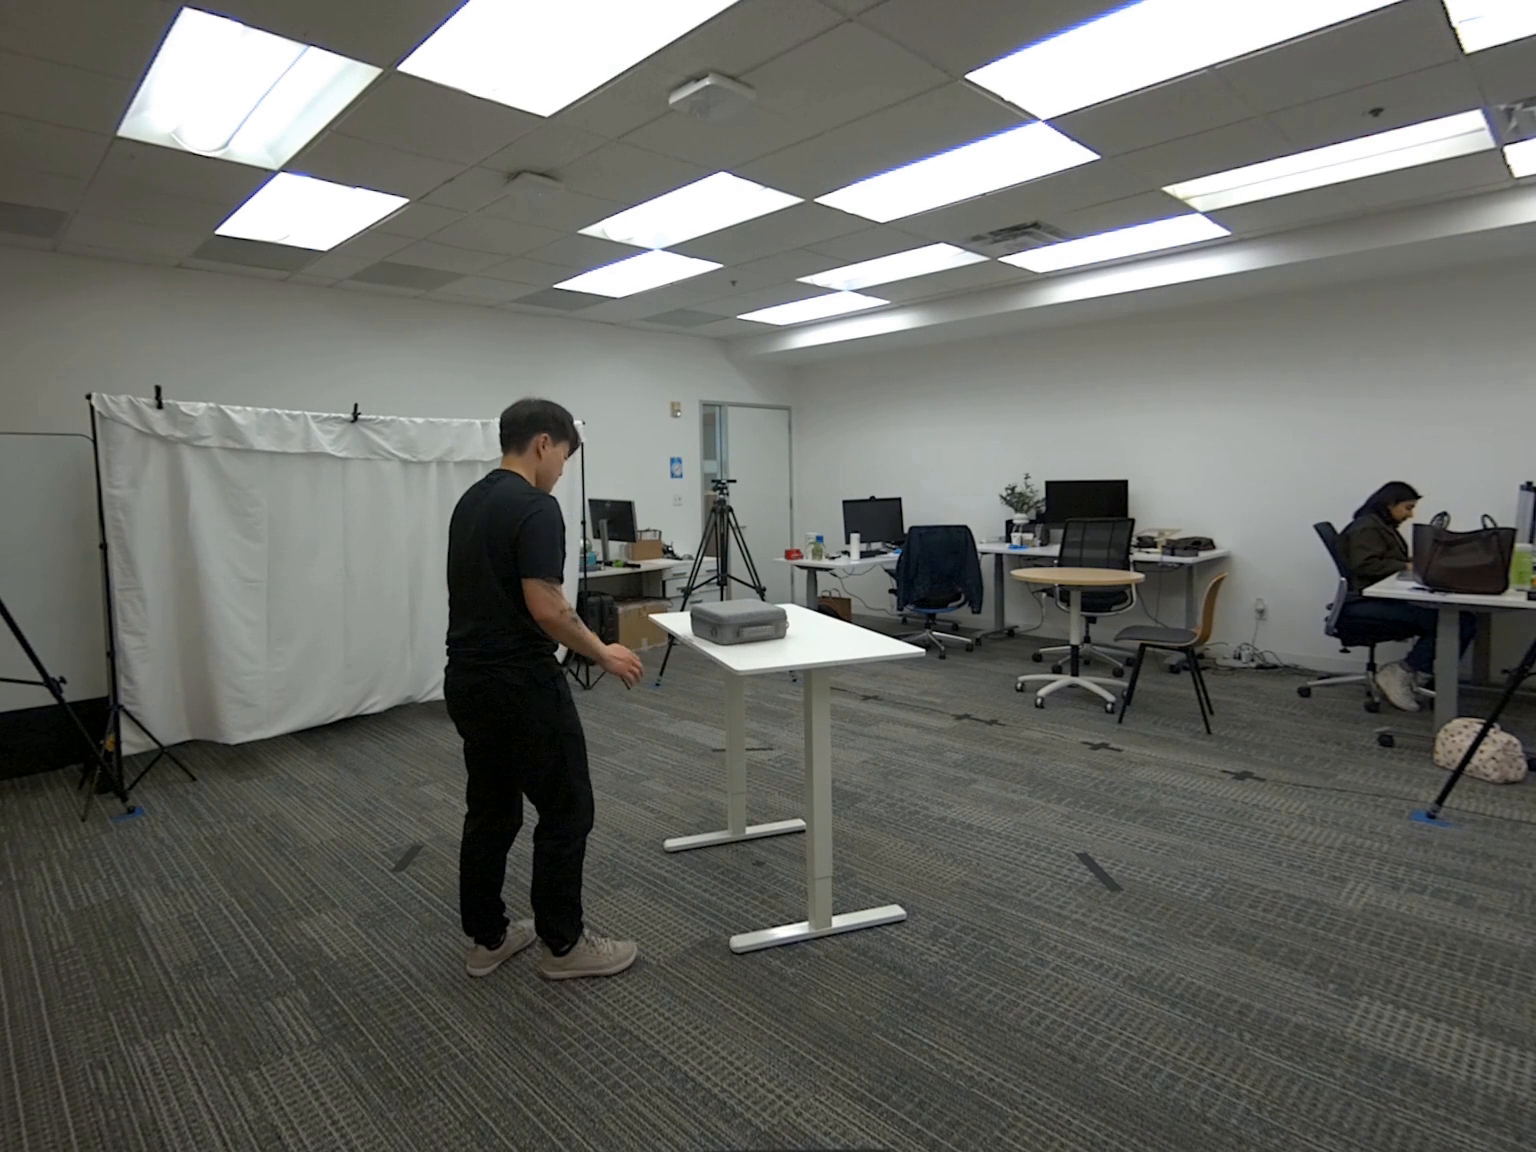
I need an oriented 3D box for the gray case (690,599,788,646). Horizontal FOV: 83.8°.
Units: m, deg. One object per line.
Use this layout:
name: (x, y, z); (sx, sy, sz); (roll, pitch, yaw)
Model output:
gray case: (-0.091, 0.147, 2.815); (0.251, 0.104, 0.268); (-4, 8, -29)
